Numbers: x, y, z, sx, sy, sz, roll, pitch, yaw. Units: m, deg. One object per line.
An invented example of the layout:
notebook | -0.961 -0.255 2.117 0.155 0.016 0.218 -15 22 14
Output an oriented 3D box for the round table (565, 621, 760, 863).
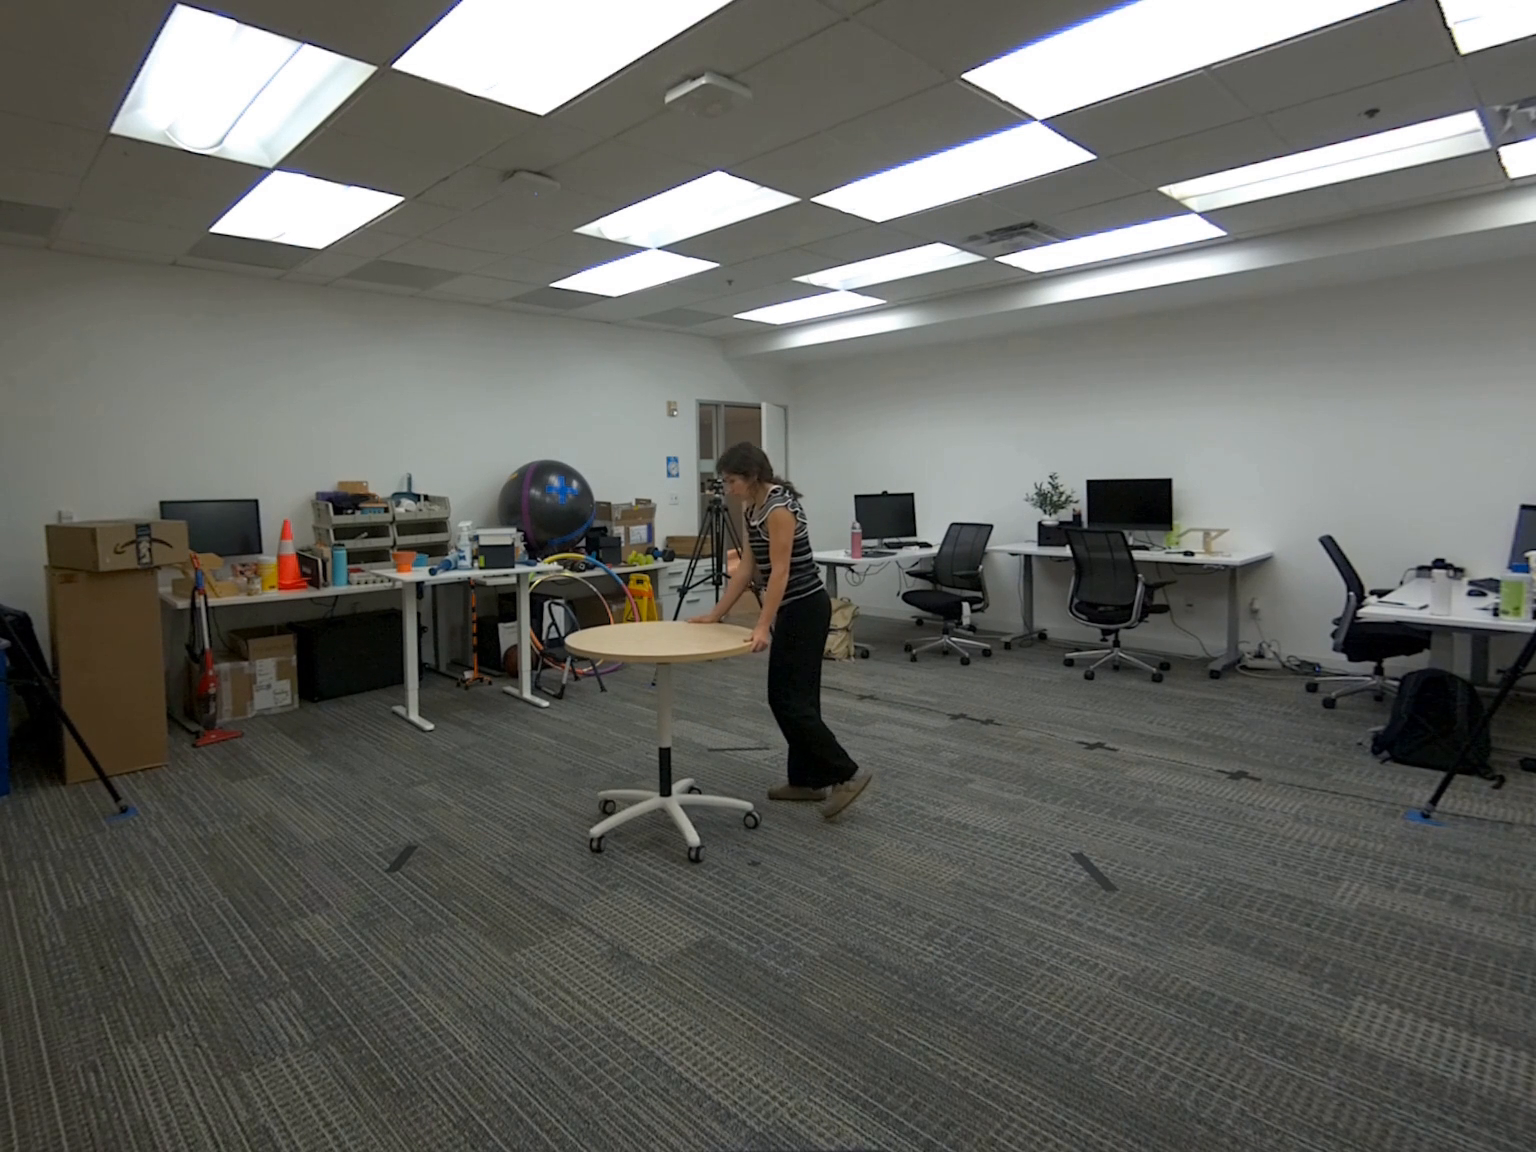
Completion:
round table | -0.410 0.630 3.396 0.763 0.791 0.767 -1 4 -2
